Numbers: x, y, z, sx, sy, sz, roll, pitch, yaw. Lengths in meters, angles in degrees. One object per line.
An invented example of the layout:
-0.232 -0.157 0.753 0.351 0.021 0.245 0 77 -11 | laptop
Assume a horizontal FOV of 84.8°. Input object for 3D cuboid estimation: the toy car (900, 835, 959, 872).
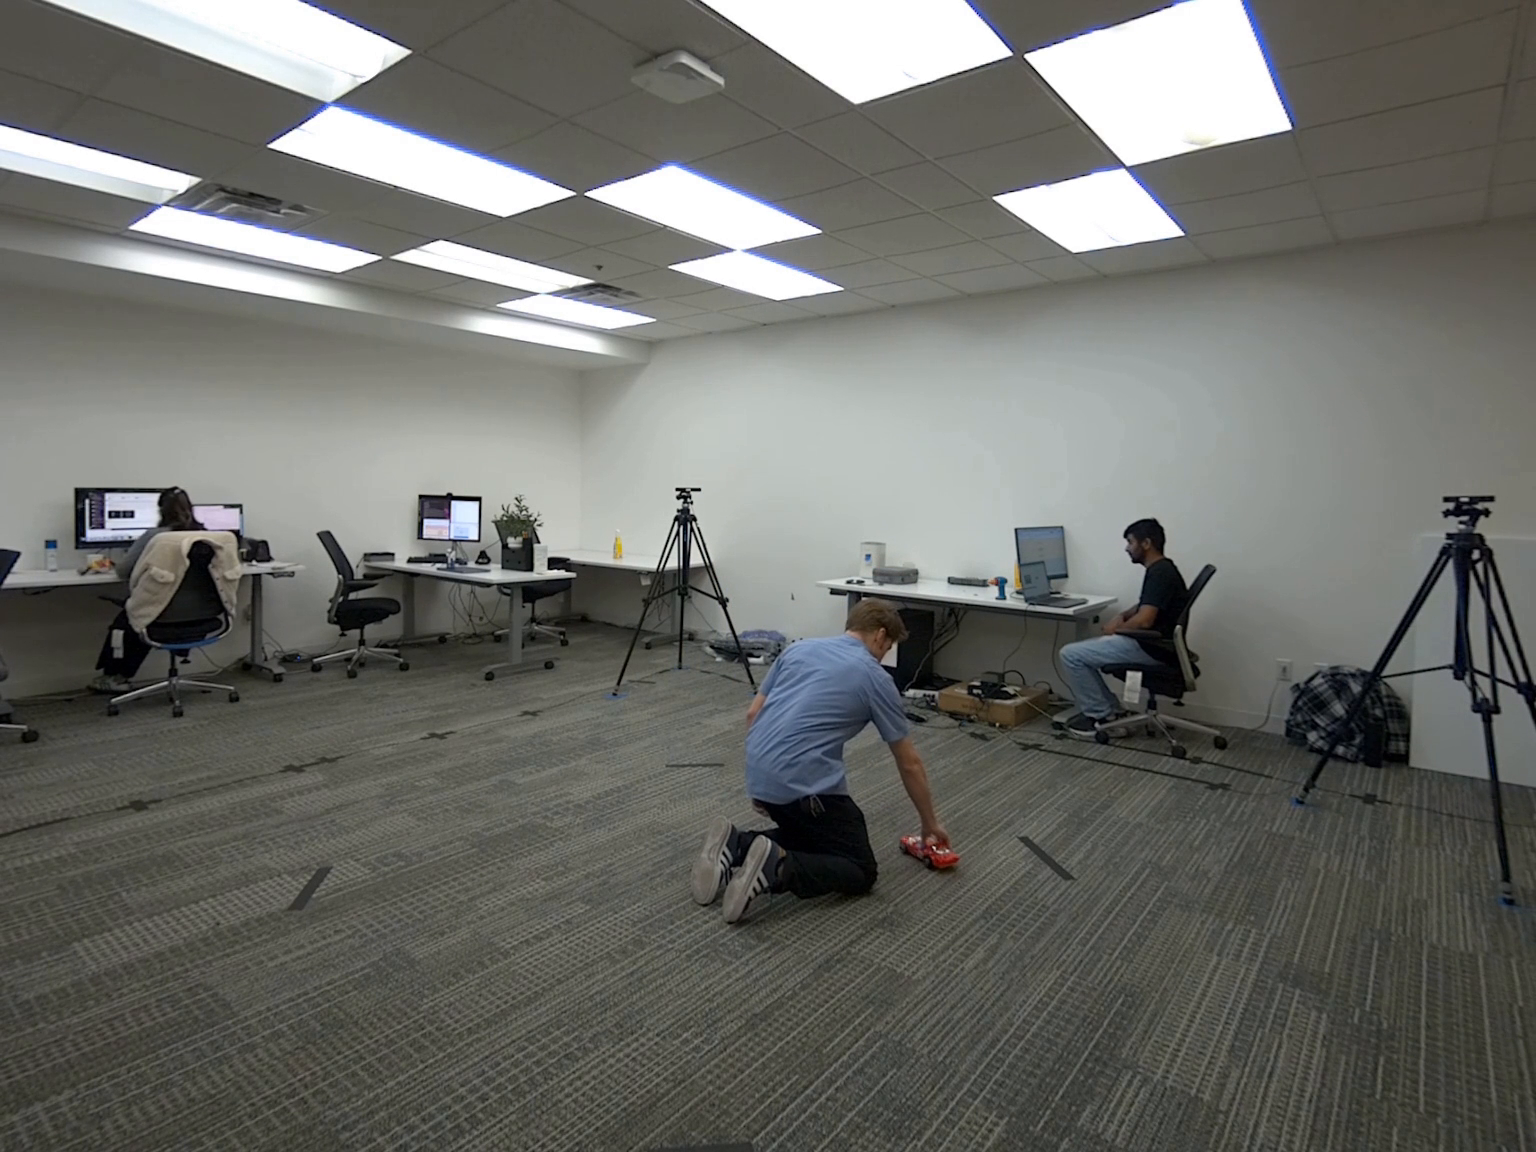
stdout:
0.609 1.047 3.222 0.127 0.083 0.260 0 -4 -28 | toy car
